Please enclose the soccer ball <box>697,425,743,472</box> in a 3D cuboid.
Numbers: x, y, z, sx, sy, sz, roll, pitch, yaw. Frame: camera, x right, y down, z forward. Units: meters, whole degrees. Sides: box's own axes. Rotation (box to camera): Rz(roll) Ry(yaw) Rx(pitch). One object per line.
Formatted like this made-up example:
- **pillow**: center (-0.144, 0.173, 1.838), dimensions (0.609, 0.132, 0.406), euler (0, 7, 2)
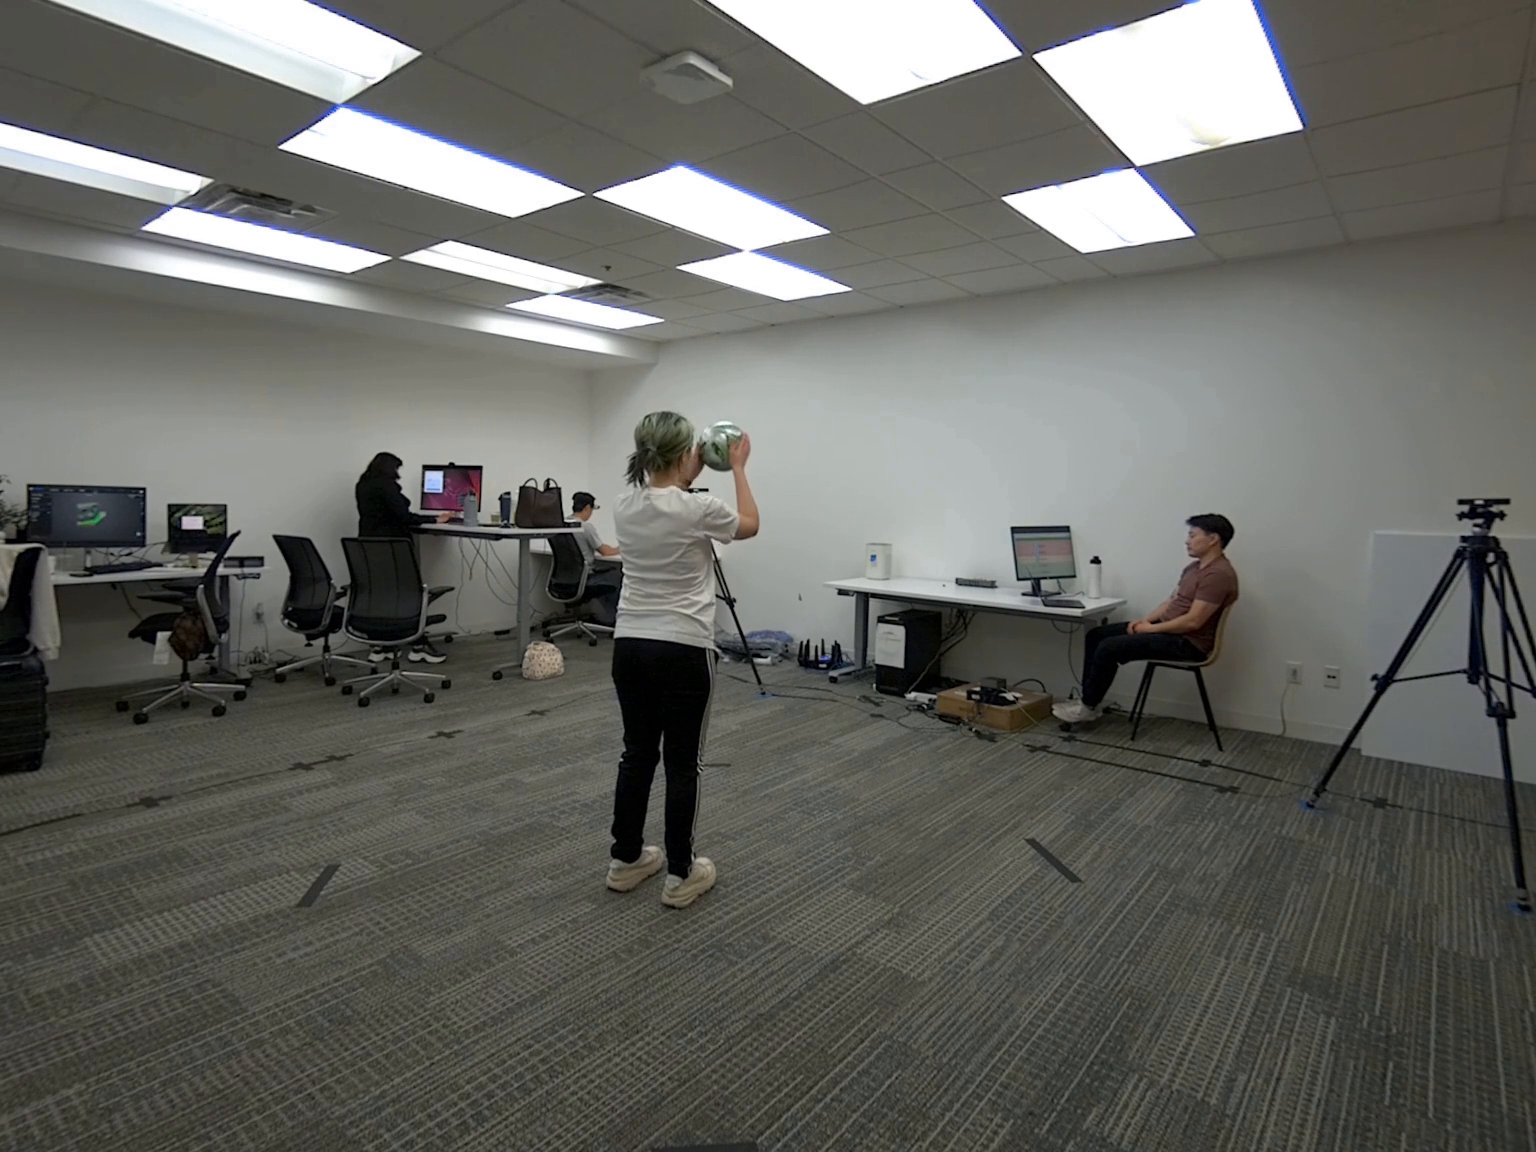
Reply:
- **soccer ball**: center (-0.186, -0.445, 3.225), dimensions (0.187, 0.187, 0.188), euler (1, 4, -2)
